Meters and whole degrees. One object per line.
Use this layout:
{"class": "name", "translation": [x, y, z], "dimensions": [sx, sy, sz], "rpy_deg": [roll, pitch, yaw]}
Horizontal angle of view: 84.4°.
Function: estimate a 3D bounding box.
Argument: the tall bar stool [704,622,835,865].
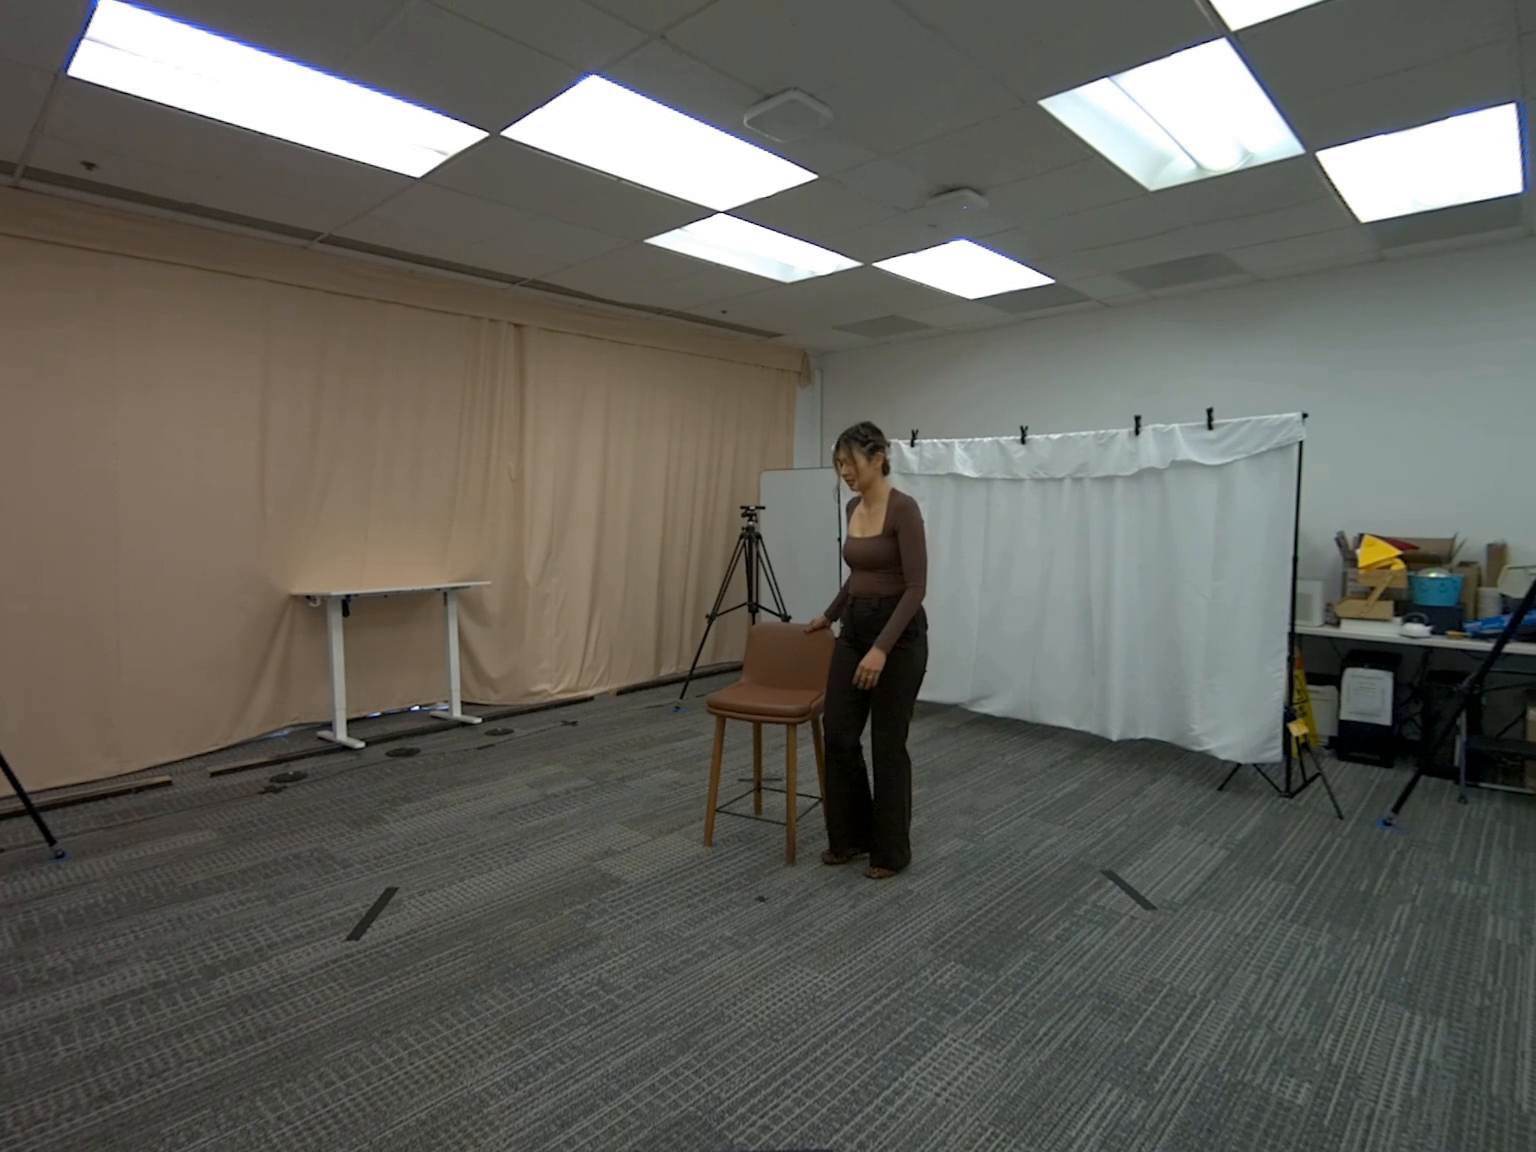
{"class": "tall bar stool", "translation": [0.019, 0.662, 3.527], "dimensions": [0.469, 0.889, 0.455], "rpy_deg": [2, 2, 29]}
